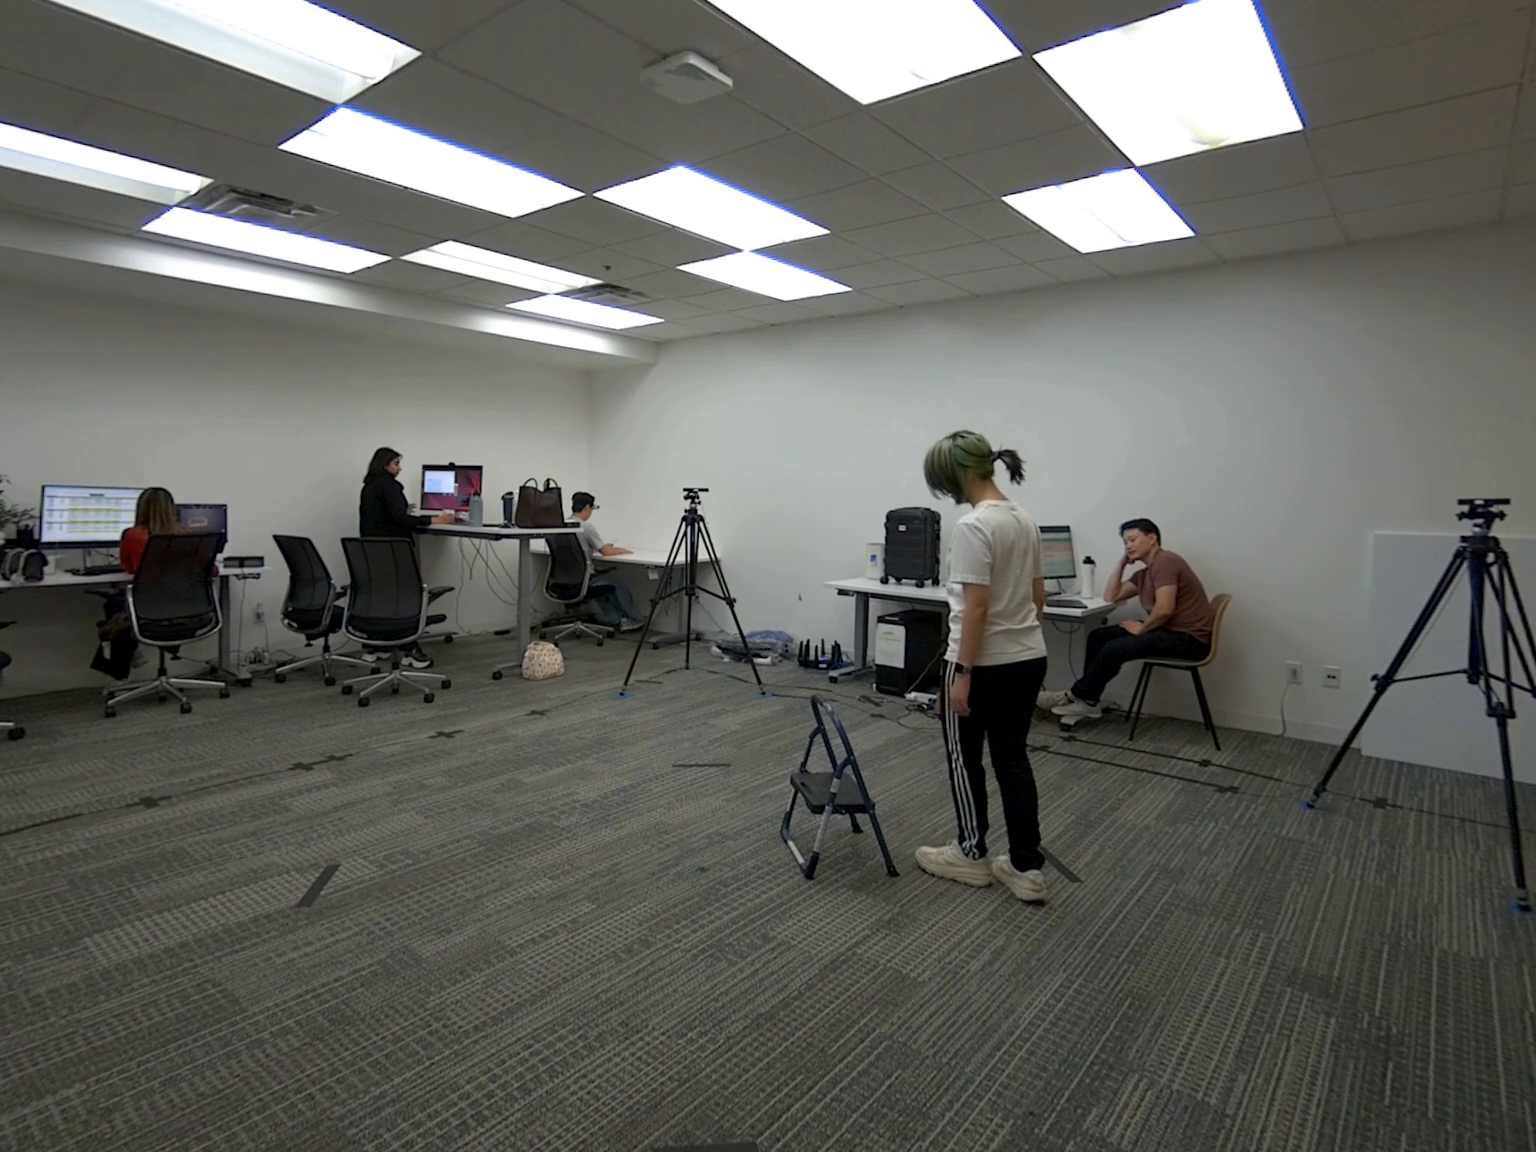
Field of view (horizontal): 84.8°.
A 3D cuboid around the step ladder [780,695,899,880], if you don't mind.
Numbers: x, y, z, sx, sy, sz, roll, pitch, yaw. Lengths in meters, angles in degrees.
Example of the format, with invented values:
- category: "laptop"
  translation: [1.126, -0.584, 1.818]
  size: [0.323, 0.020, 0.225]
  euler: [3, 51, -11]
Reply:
- category: "step ladder"
  translation: [0.259, 0.766, 3.256]
  size: [0.345, 0.604, 0.437]
  euler: [1, 4, -12]
